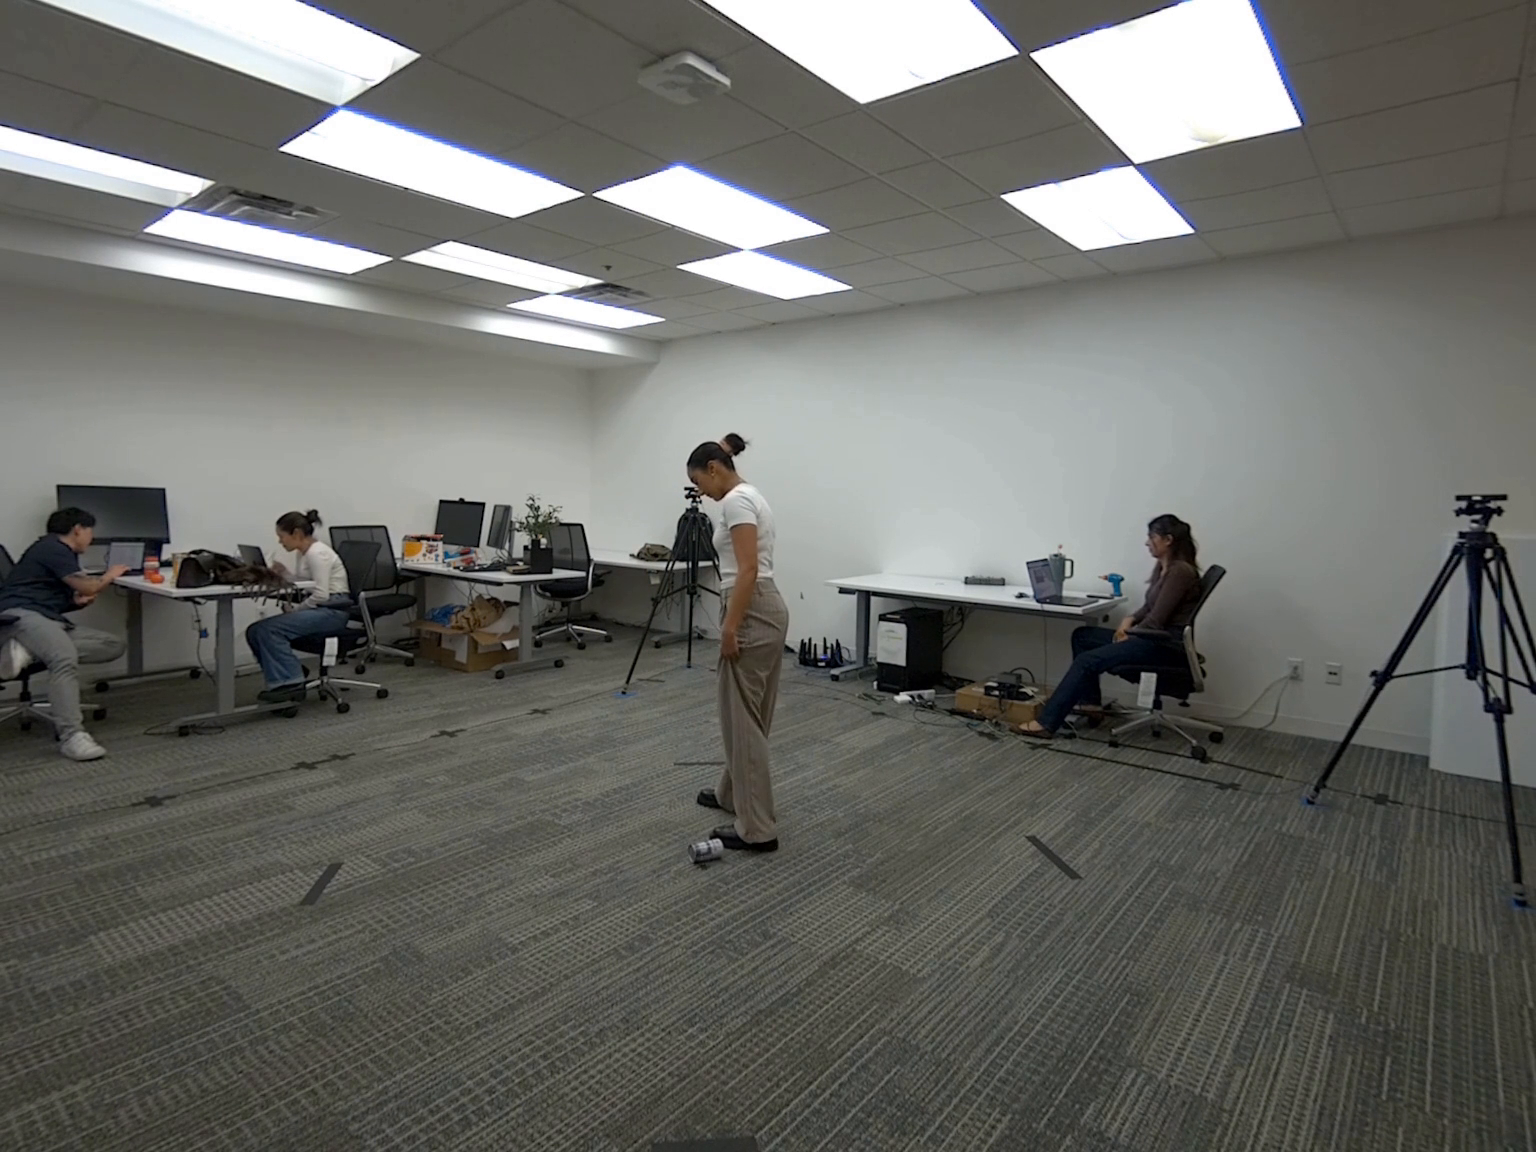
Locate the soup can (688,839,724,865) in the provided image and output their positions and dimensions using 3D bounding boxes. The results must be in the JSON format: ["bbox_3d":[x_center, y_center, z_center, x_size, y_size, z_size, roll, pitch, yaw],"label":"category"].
[{"bbox_3d":[-0.238,1.018,3.177,0.119,0.067,0.069,-3,5,-23],"label":"soup can"}]
